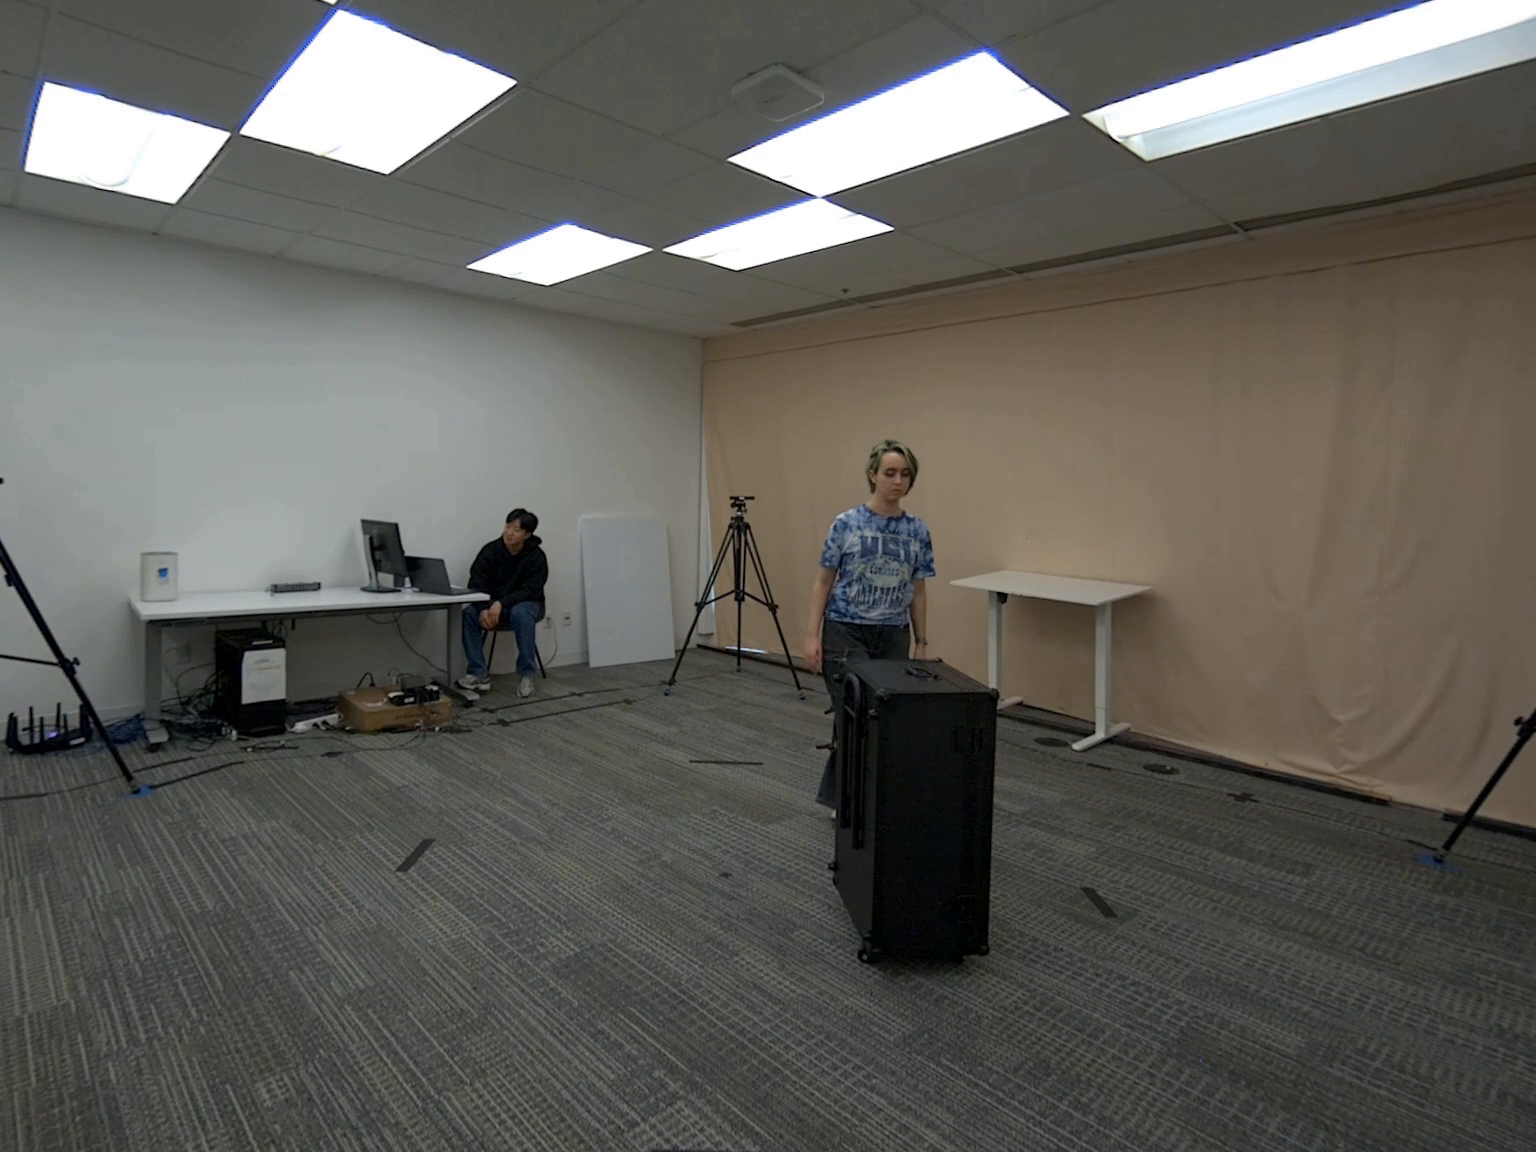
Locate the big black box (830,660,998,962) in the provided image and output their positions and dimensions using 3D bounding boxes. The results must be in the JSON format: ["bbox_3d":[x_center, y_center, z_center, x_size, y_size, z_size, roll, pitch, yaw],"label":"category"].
[{"bbox_3d":[0.430,0.740,2.658,0.394,0.859,0.525,0,4,-7],"label":"big black box"}]
